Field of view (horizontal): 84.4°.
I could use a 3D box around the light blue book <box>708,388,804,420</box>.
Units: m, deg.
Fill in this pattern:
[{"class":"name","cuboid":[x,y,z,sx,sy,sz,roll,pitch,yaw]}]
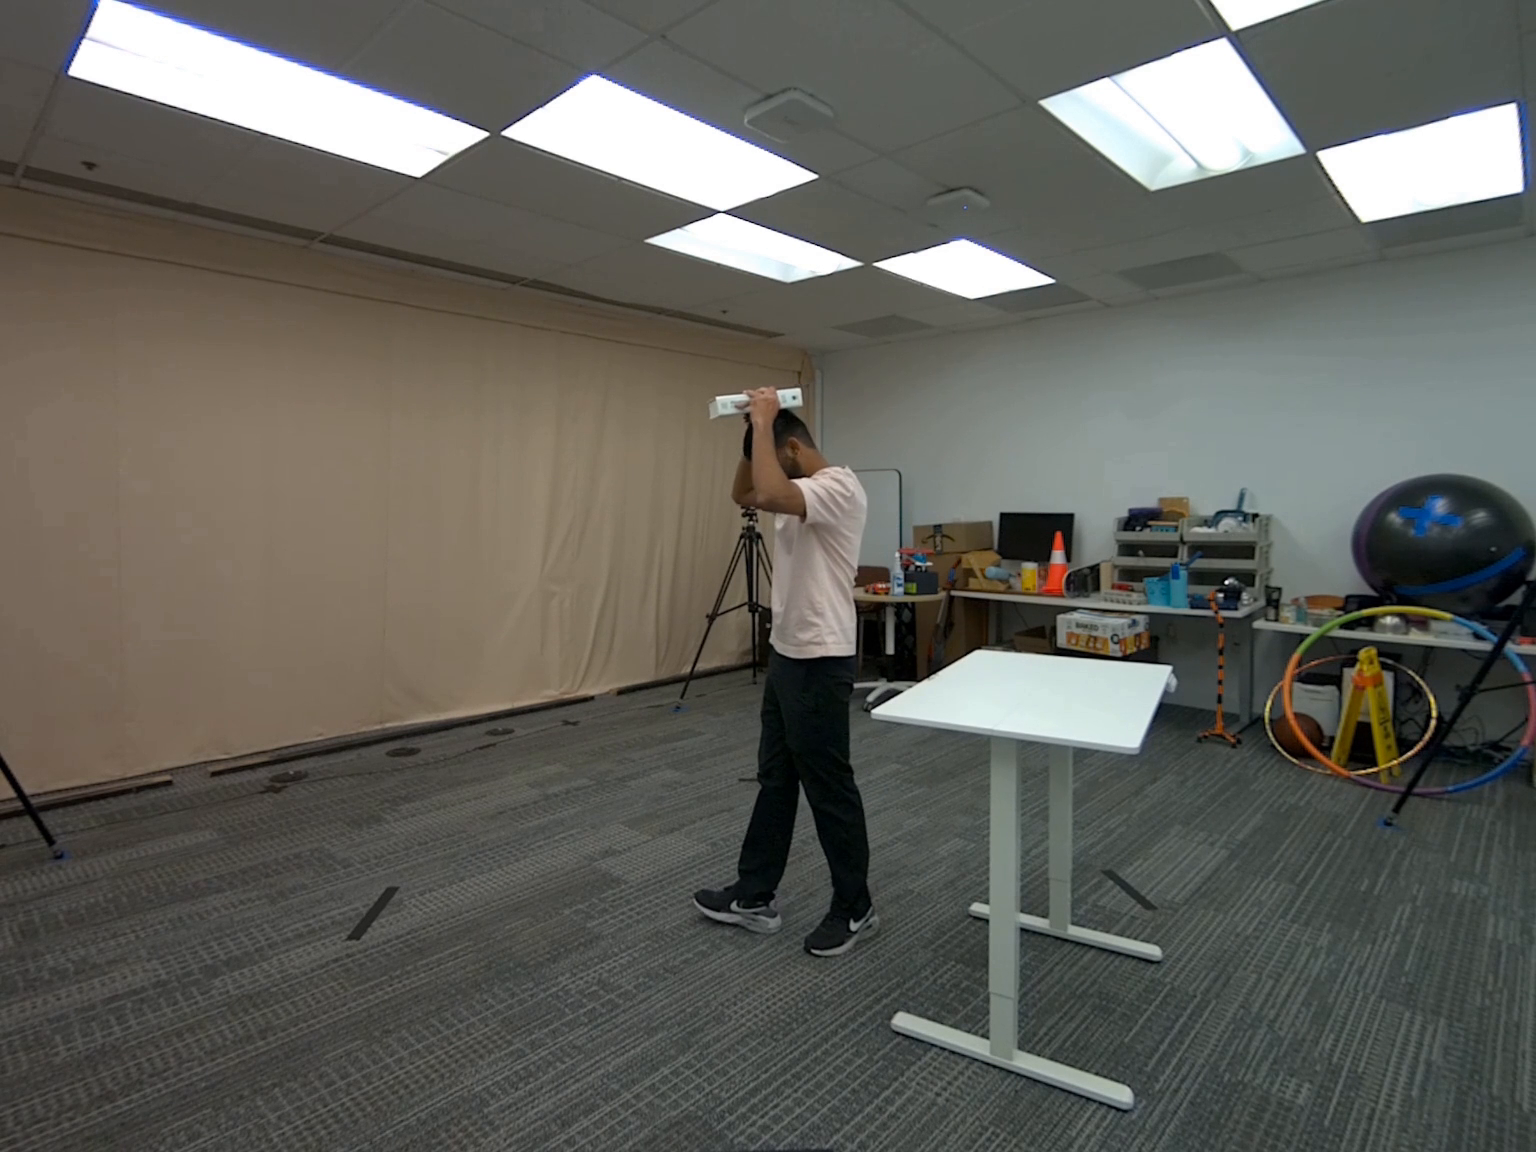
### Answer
[{"class":"light blue book","cuboid":[-0.030,-0.535,2.603,0.261,0.058,0.192,-7,9,0]}]
